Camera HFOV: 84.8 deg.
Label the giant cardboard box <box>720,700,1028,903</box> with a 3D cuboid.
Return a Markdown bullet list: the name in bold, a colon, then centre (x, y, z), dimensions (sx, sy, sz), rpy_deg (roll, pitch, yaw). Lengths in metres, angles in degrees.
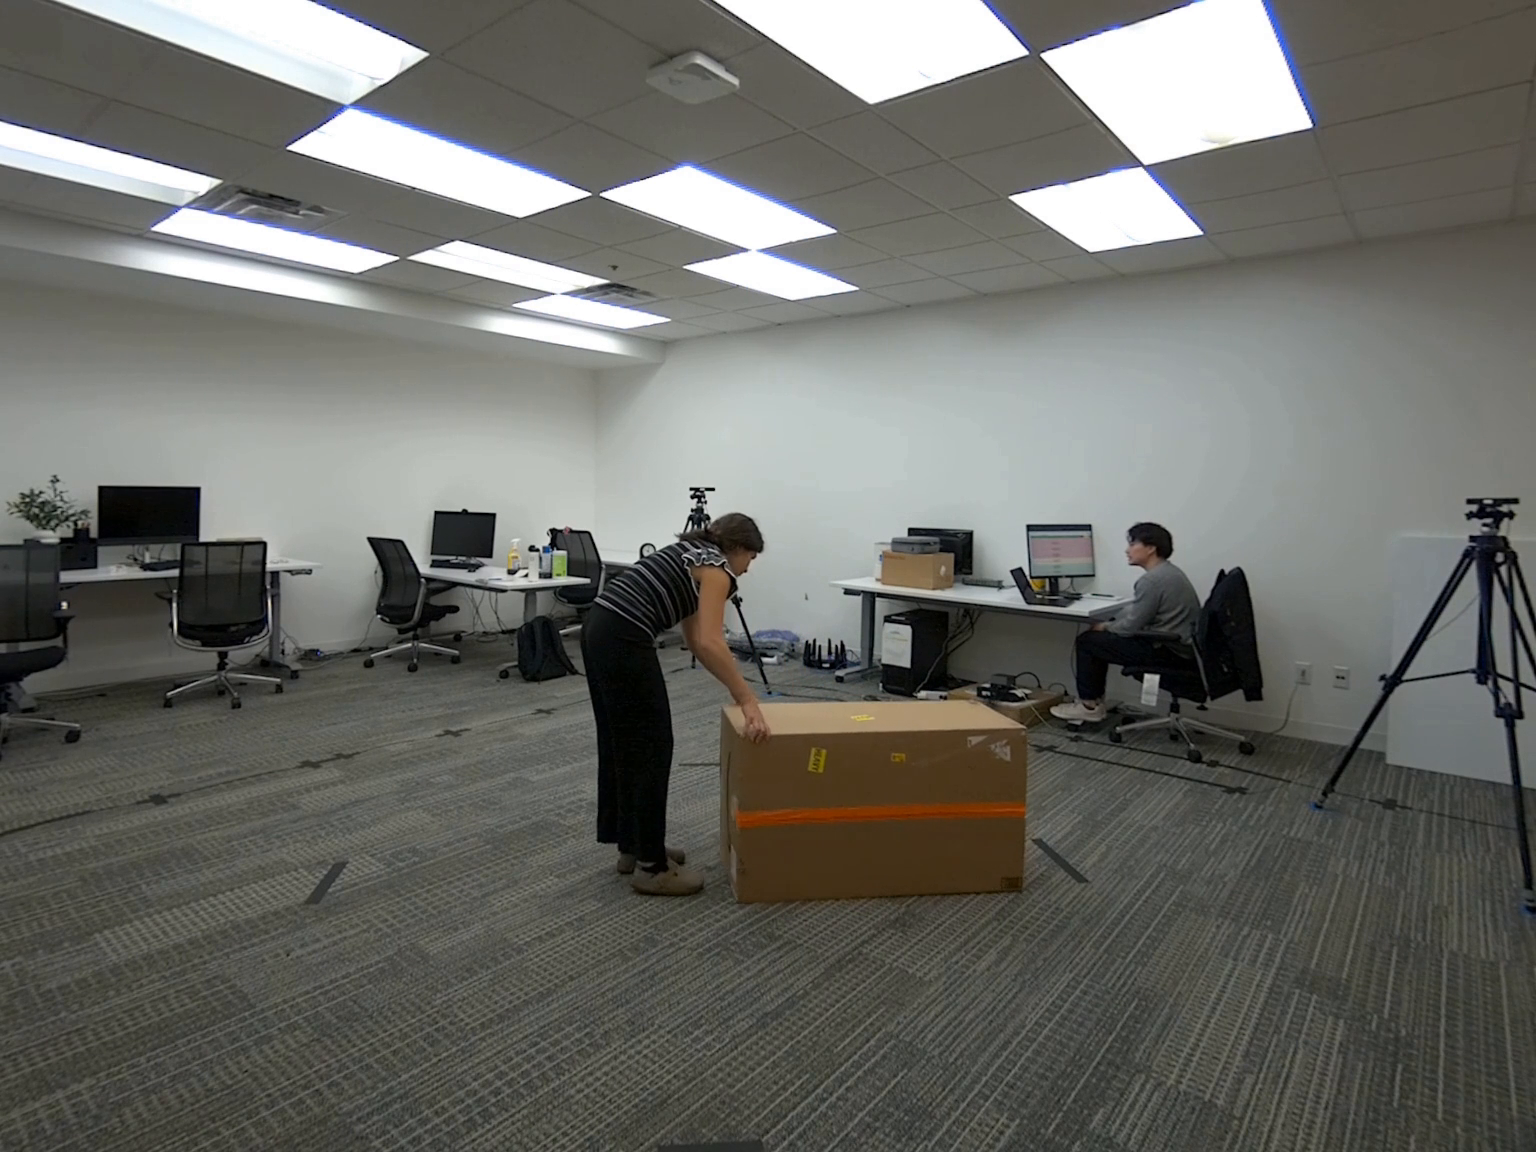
- **giant cardboard box**: centre (0.357, 0.790, 3.104), dimensions (1.017, 0.576, 0.431), rpy_deg (0, 4, -8)
